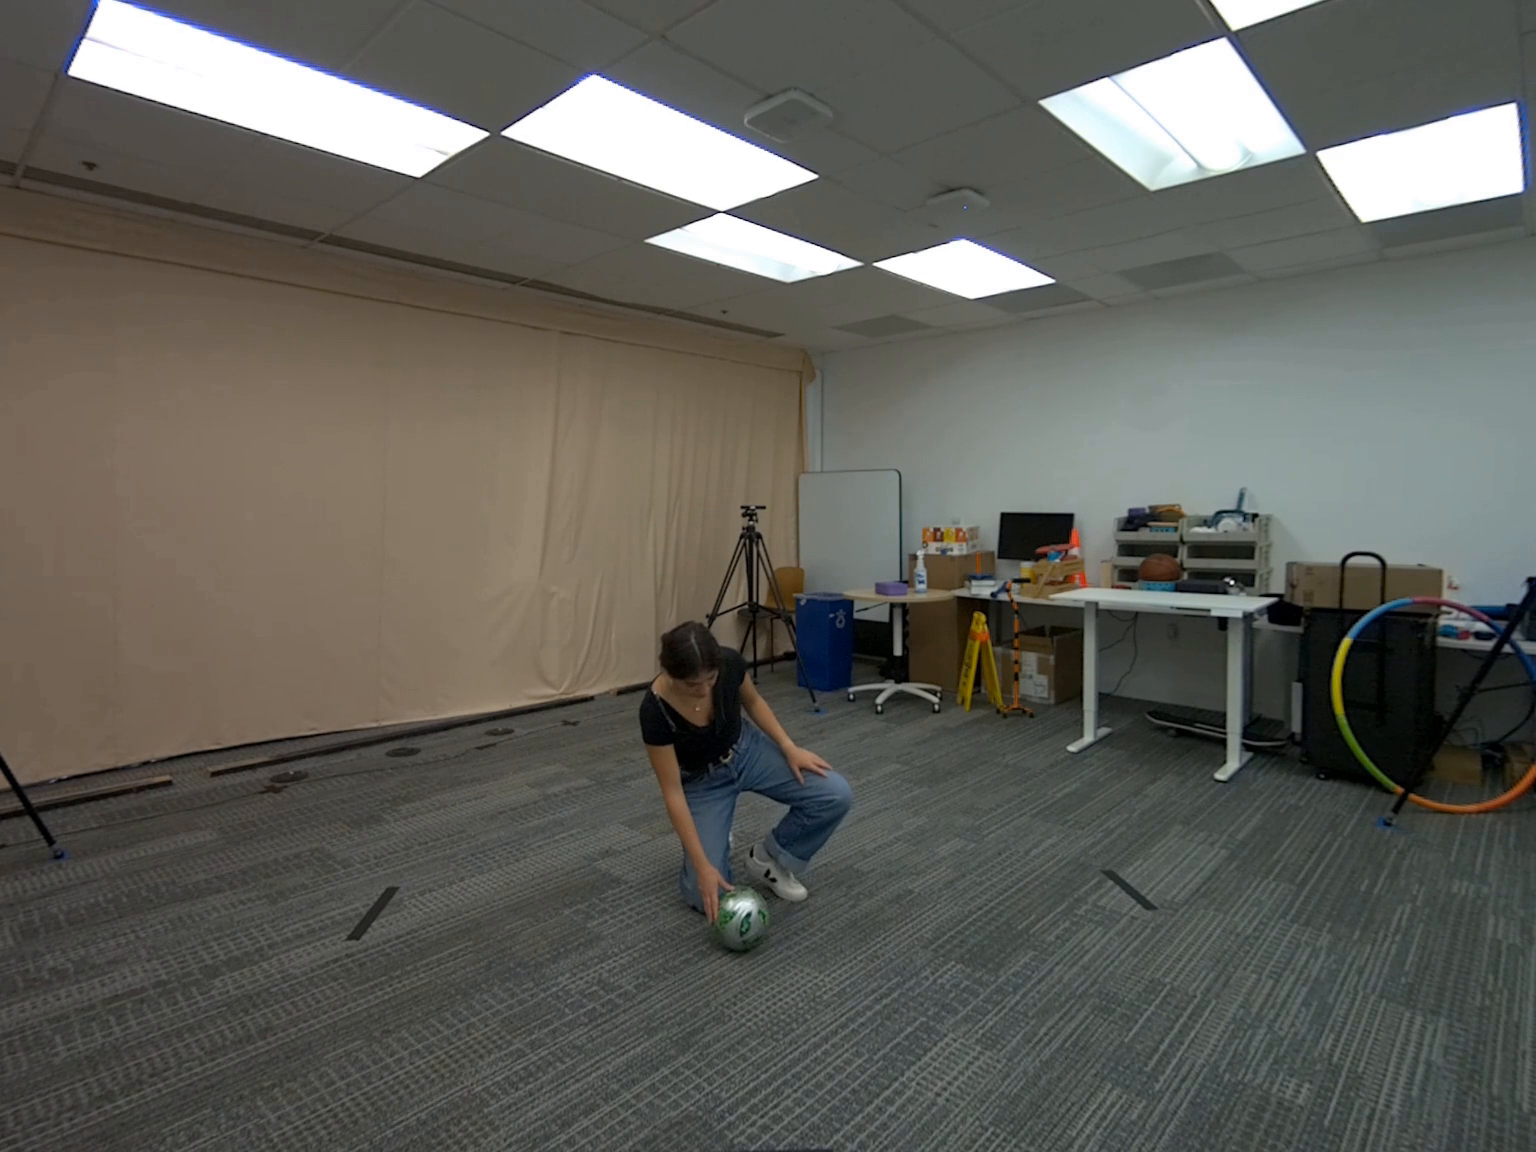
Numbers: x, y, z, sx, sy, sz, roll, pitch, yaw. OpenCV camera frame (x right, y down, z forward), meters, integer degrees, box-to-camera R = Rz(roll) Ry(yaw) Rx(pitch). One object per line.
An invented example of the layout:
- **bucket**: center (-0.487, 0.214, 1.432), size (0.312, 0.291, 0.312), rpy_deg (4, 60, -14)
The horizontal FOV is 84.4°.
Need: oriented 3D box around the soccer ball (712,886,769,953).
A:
- **soccer ball**: center (-0.082, 1.079, 2.653), size (0.187, 0.187, 0.188), rpy_deg (0, 4, -2)
